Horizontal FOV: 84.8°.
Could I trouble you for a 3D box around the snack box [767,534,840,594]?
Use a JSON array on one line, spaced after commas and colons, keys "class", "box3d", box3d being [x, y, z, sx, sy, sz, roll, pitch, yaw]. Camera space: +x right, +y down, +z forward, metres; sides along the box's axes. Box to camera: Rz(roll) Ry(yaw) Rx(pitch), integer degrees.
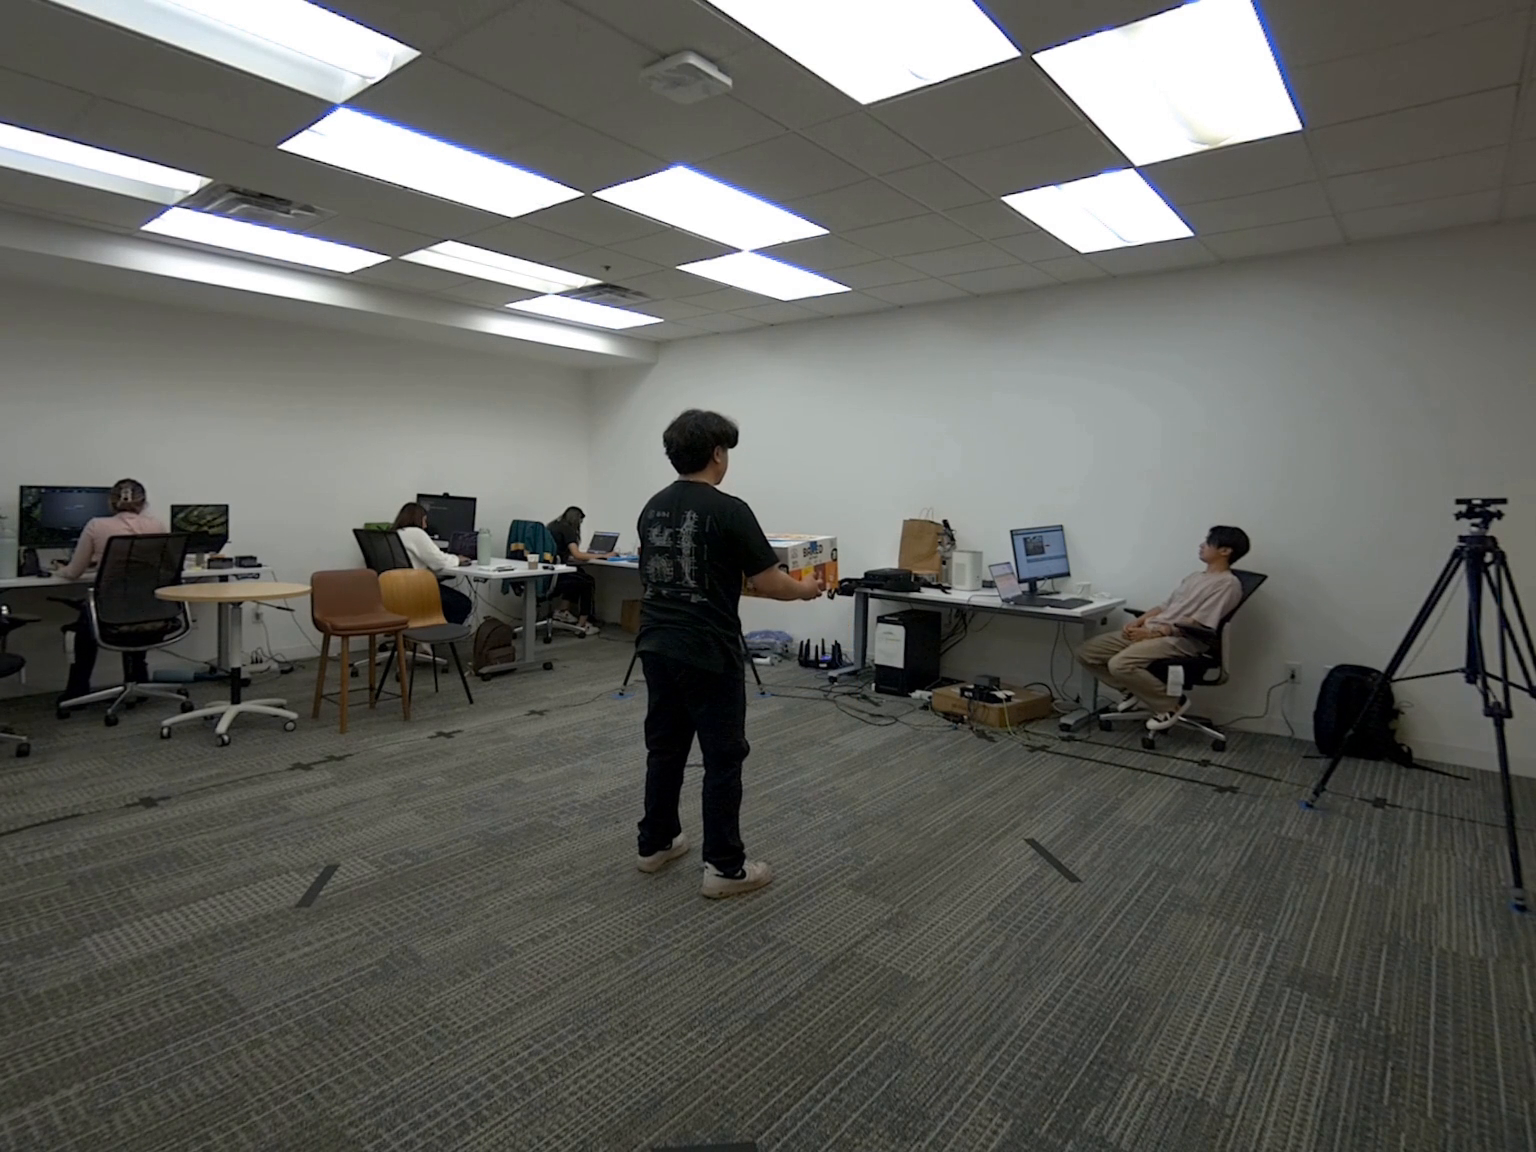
[{"class": "snack box", "box3d": [0.002, -0.042, 3.341, 0.418, 0.204, 0.331, 4, 9, 37]}]
